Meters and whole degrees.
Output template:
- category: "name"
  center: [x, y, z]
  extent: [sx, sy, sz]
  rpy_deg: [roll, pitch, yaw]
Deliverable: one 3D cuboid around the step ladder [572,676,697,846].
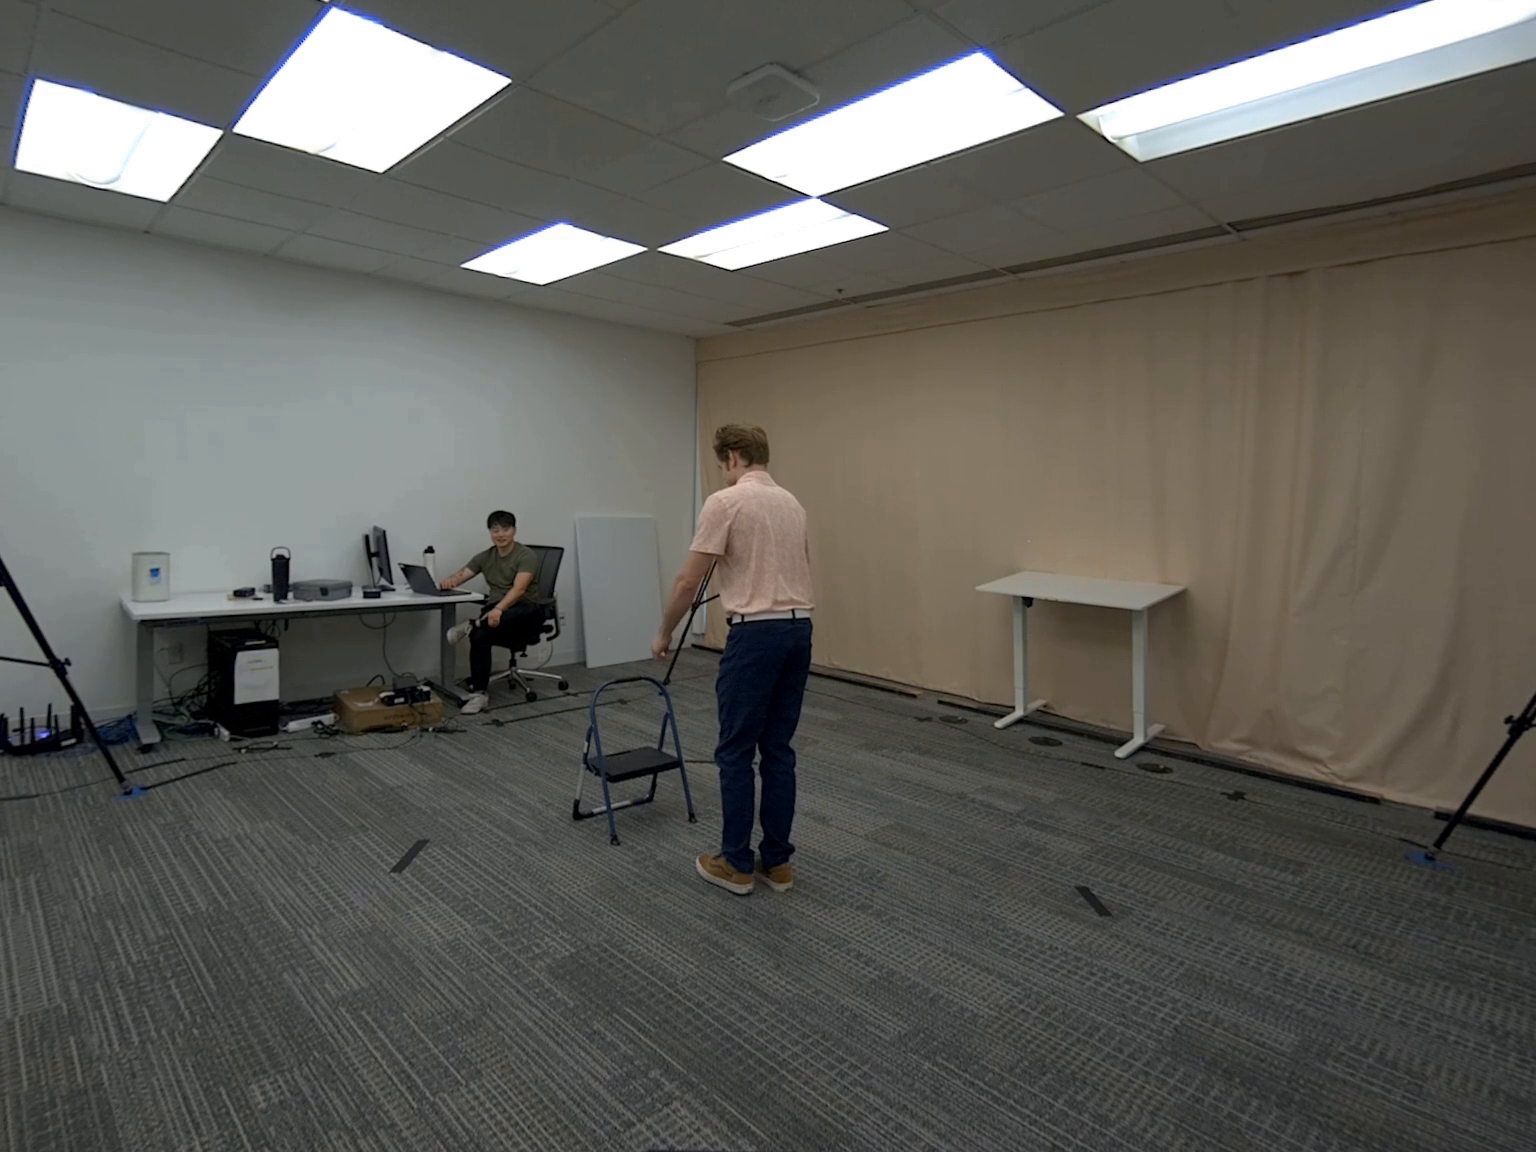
- category: "step ladder"
  center: [-0.572, 0.748, 3.591]
  extent: [0.421, 0.605, 0.358]
  rpy_deg: [-1, 4, -43]
